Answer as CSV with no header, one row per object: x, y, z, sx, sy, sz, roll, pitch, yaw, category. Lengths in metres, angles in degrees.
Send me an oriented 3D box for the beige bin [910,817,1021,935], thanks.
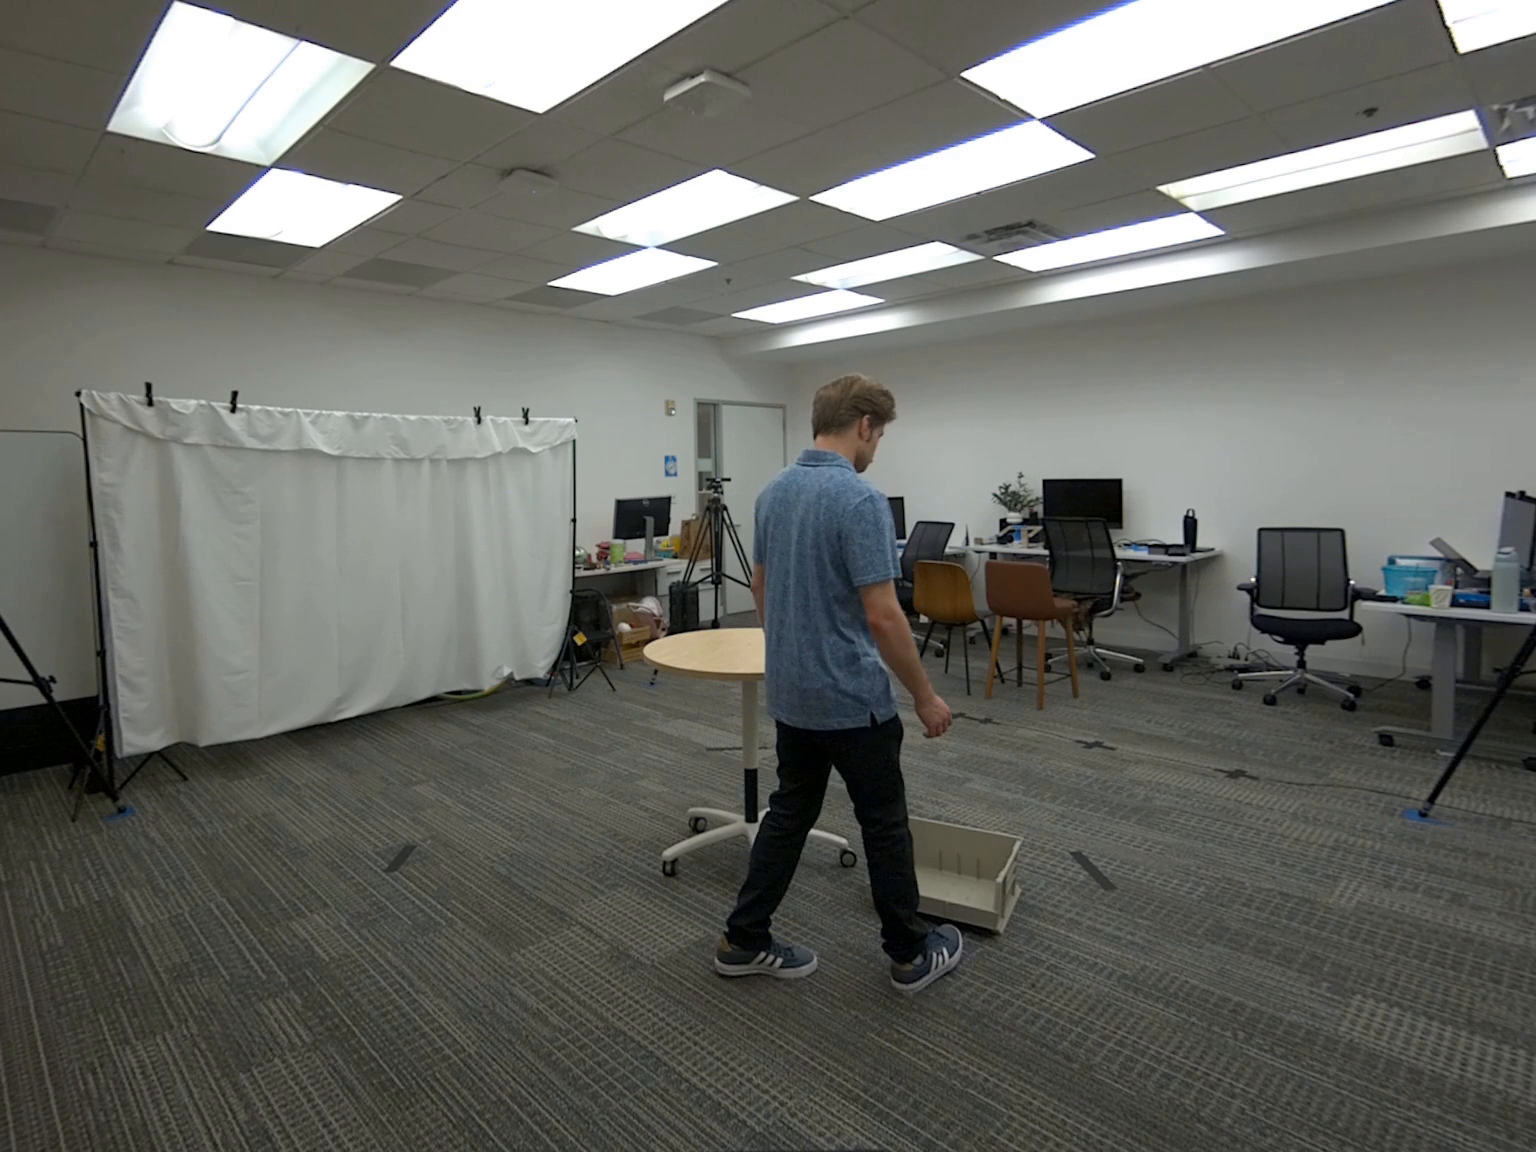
0.588,0.976,2.802,0.433,0.188,0.369,1,5,29,beige bin
